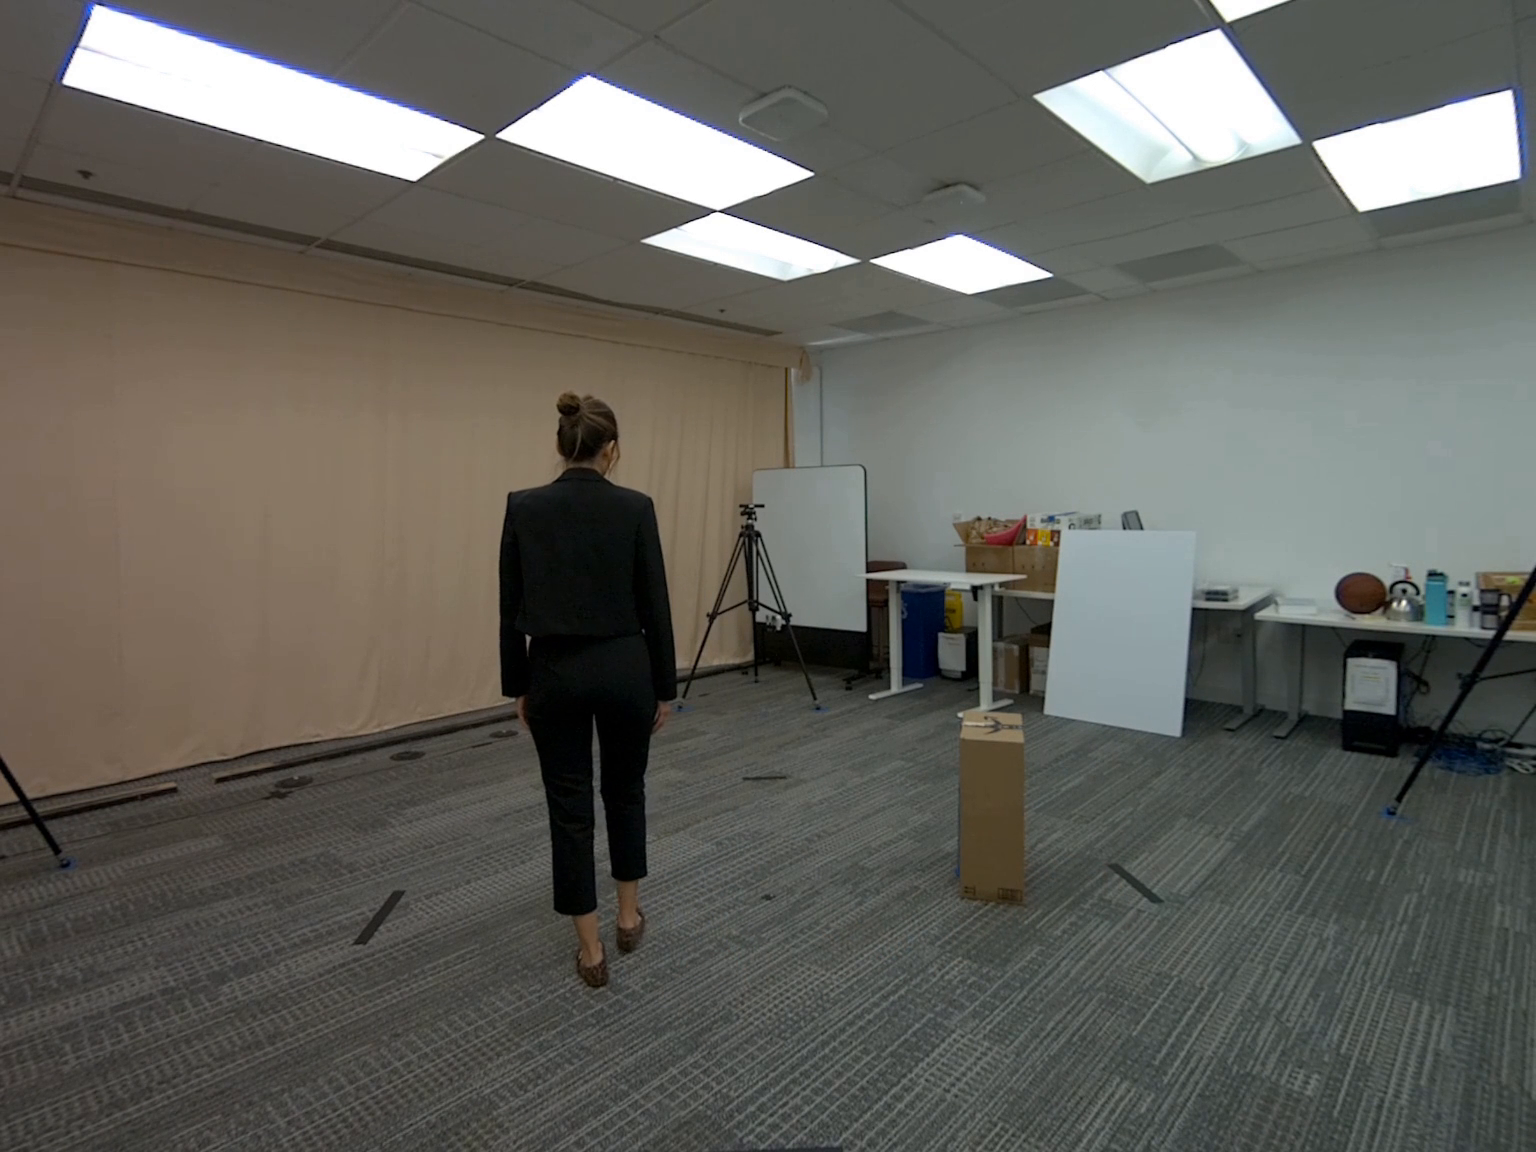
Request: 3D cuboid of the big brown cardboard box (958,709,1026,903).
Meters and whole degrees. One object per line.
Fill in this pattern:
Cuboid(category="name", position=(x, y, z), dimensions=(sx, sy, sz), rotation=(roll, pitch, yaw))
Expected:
Cuboid(category="big brown cardboard box", position=(0.829, 0.836, 3.106), dimensions=(0.237, 0.588, 0.411), rotation=(1, 2, 15))
